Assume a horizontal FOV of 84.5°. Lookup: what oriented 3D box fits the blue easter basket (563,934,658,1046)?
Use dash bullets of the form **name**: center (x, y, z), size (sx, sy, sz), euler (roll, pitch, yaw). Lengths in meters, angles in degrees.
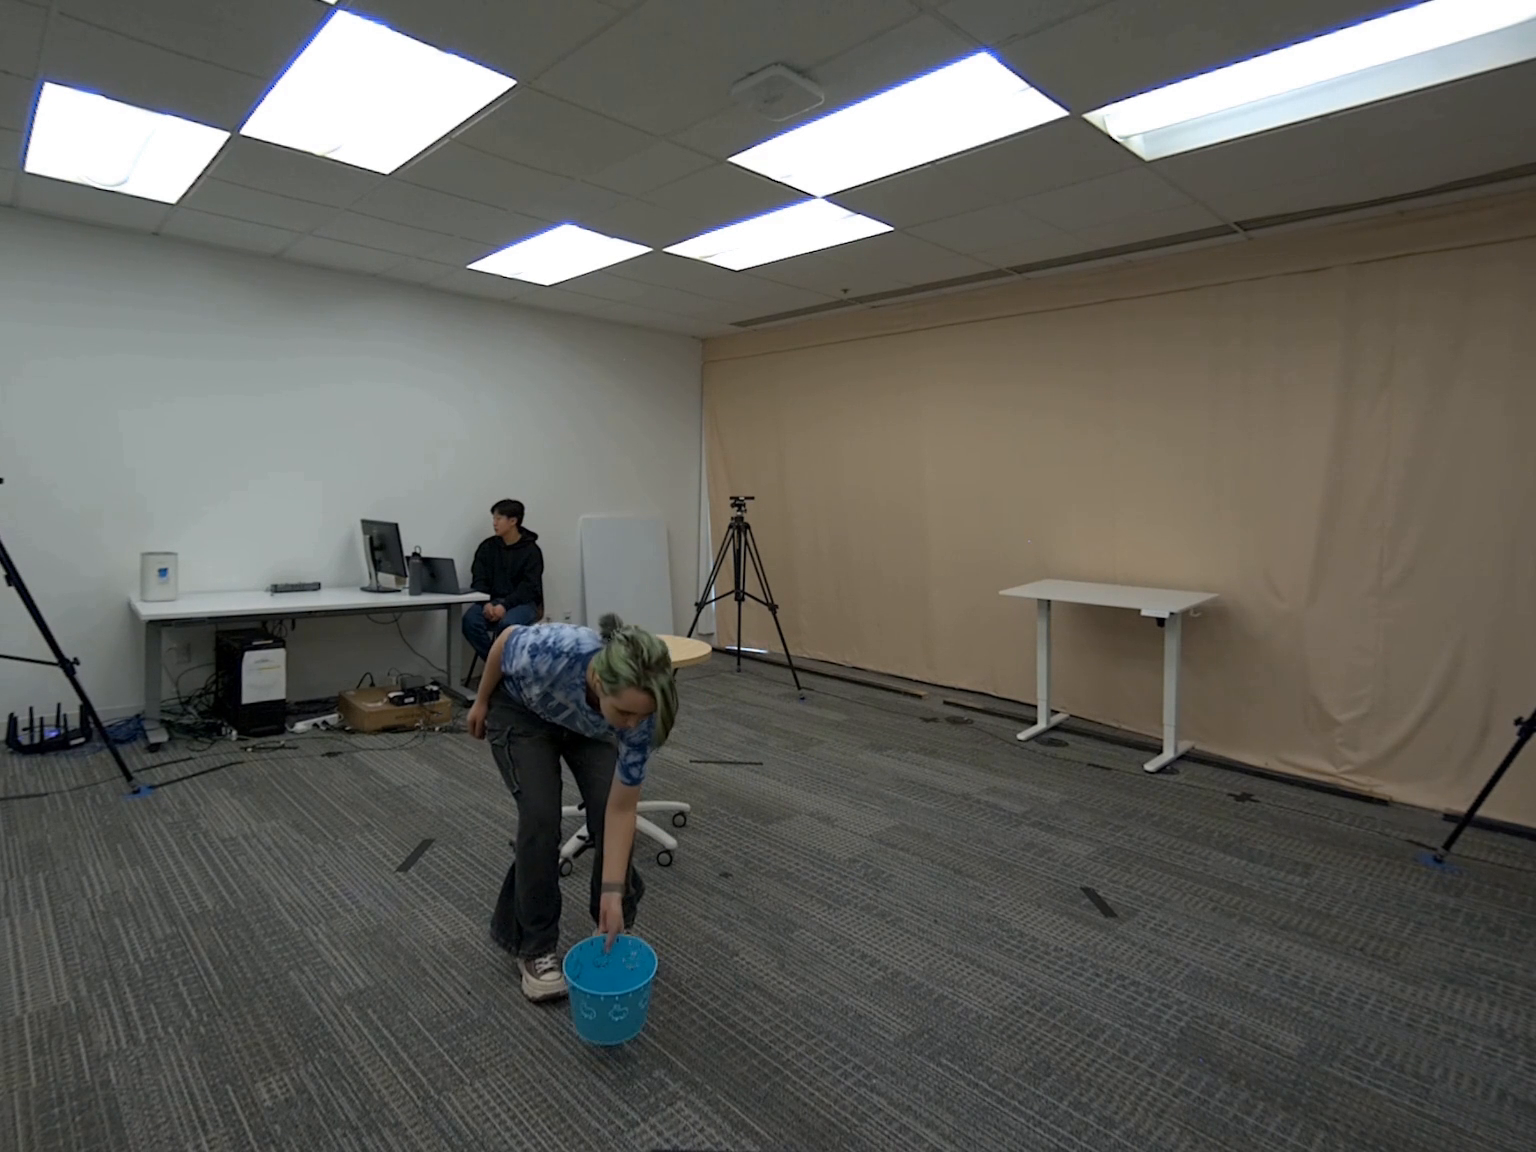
- **blue easter basket**: center (-0.395, 1.021, 2.067), size (0.243, 0.155, 0.245), euler (2, 10, -2)
